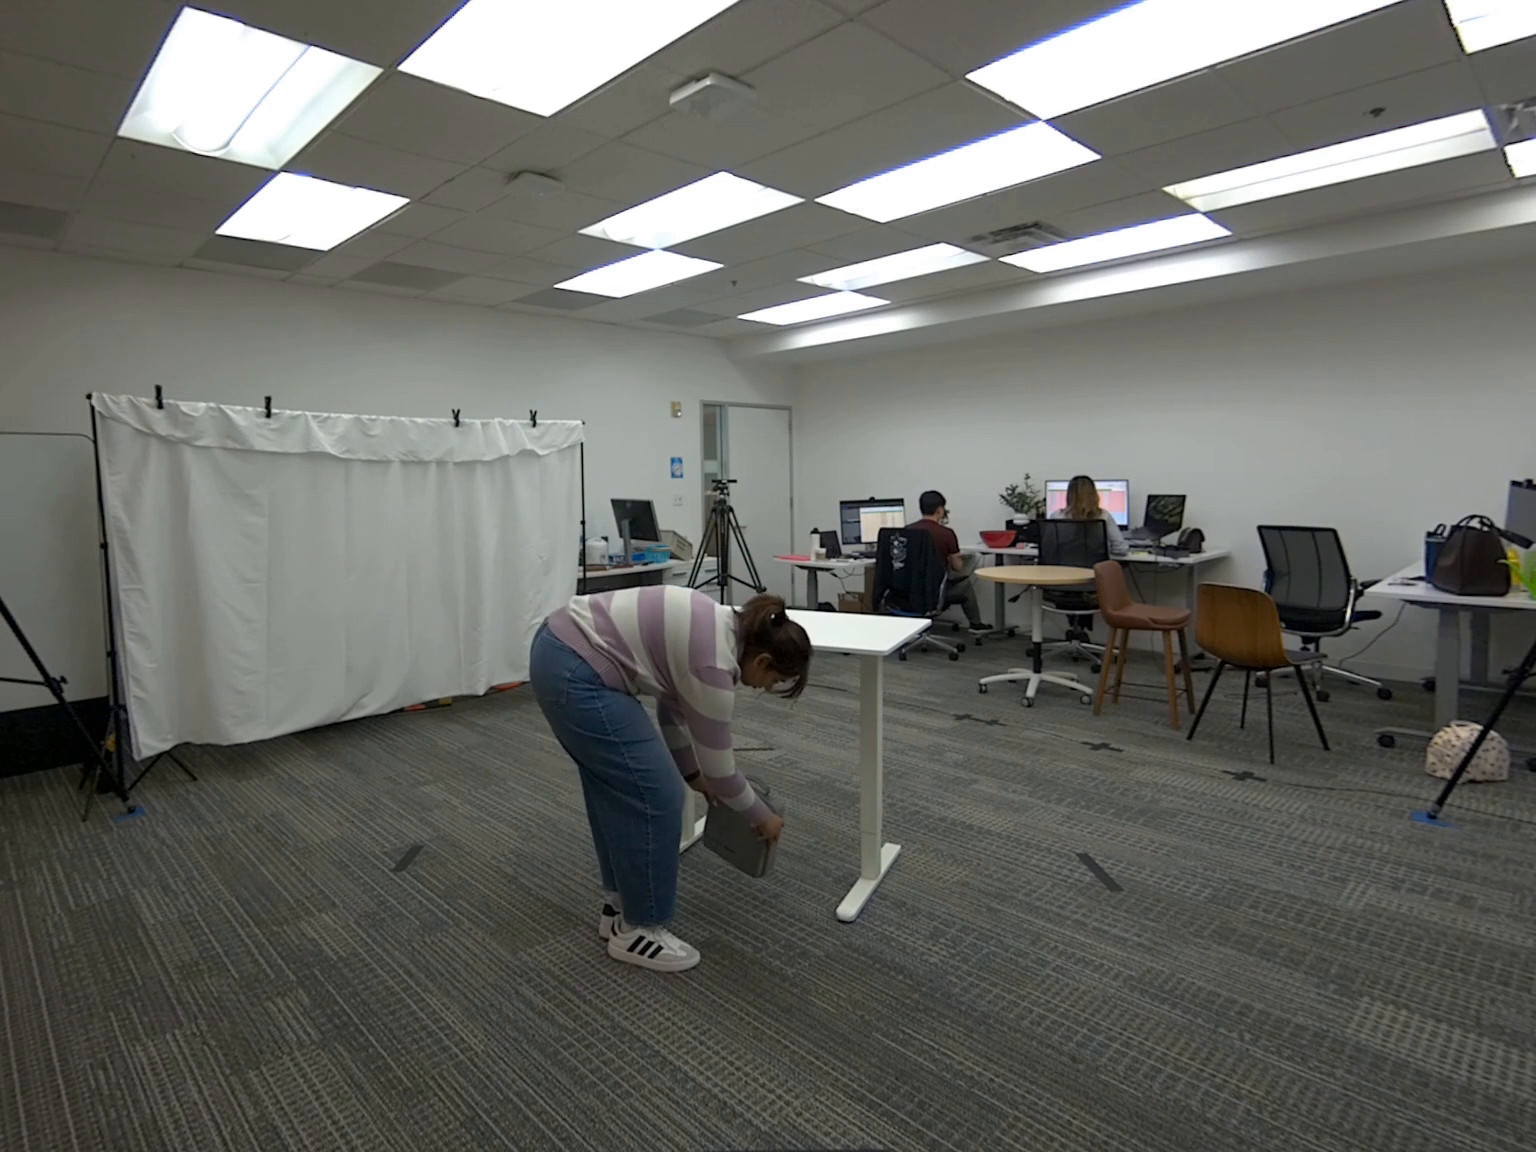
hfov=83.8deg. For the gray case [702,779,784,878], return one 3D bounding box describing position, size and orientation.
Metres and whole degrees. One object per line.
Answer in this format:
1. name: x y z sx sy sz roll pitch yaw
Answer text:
1. gray case: -0.082 0.808 2.791 0.265 0.259 0.101 17 11 35
